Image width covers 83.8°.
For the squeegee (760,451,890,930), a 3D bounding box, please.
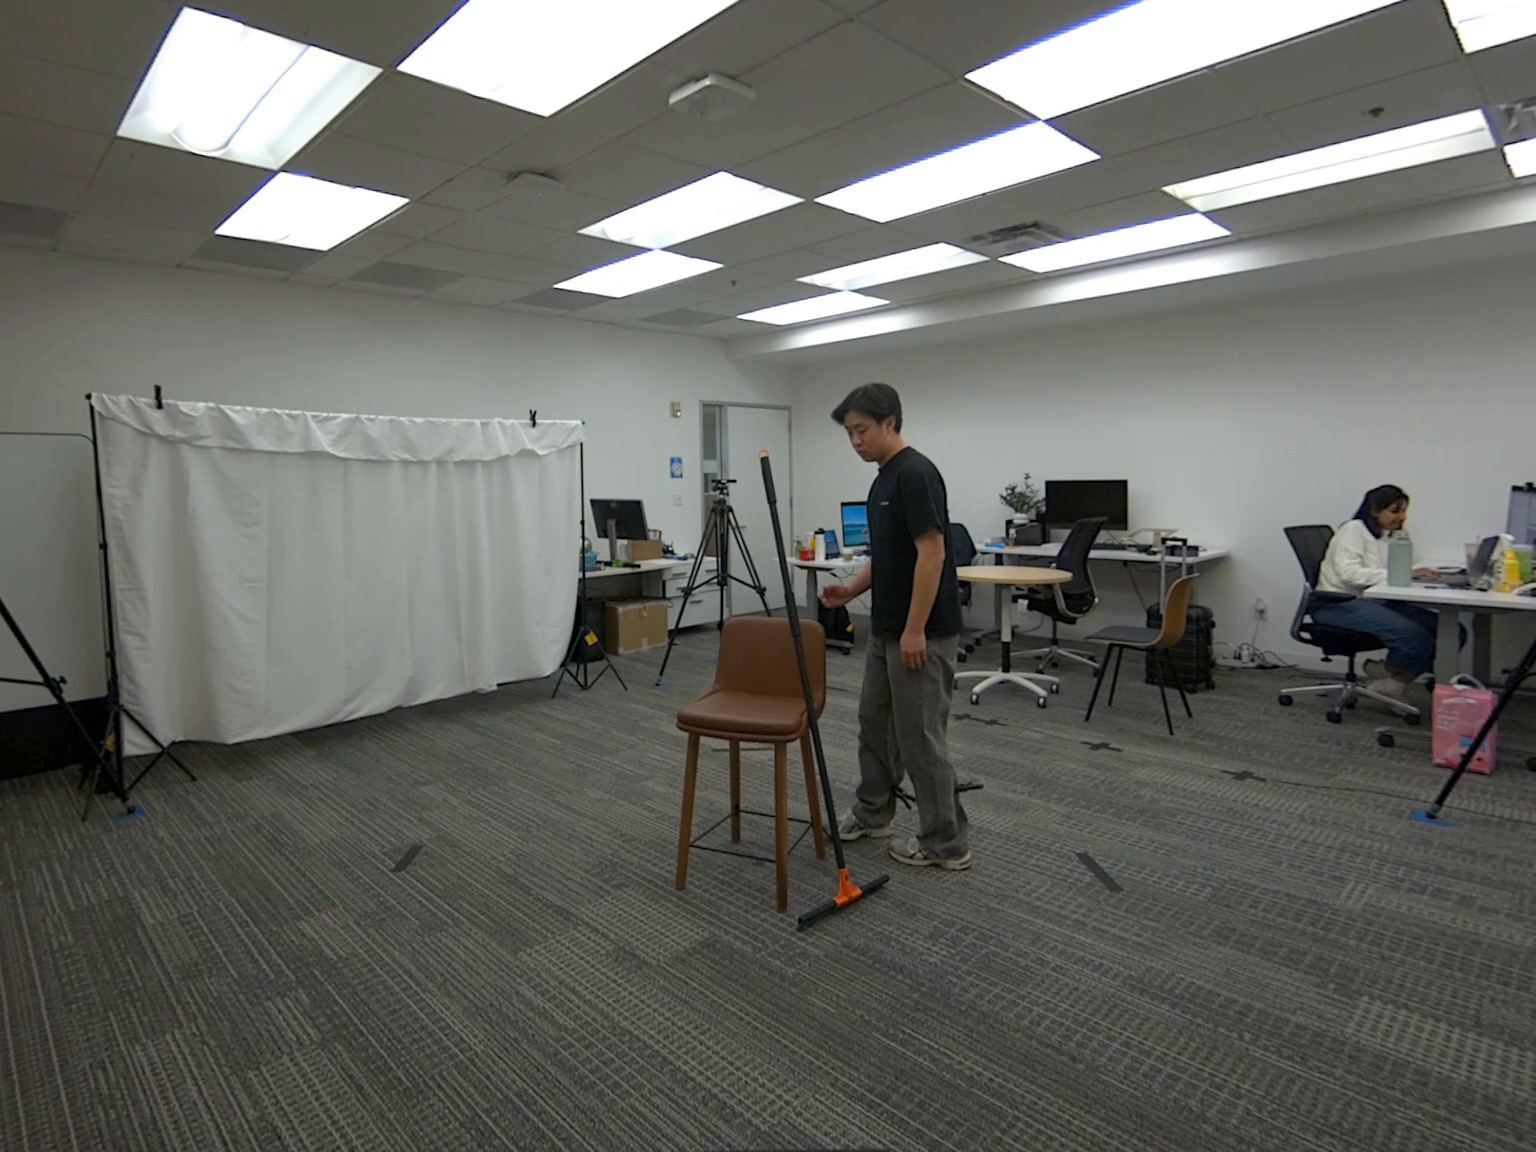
[{"bbox_3d":[0.121,0.317,2.864,0.427,1.547,0.054,-6,-7,-35],"label":"squeegee"}]
